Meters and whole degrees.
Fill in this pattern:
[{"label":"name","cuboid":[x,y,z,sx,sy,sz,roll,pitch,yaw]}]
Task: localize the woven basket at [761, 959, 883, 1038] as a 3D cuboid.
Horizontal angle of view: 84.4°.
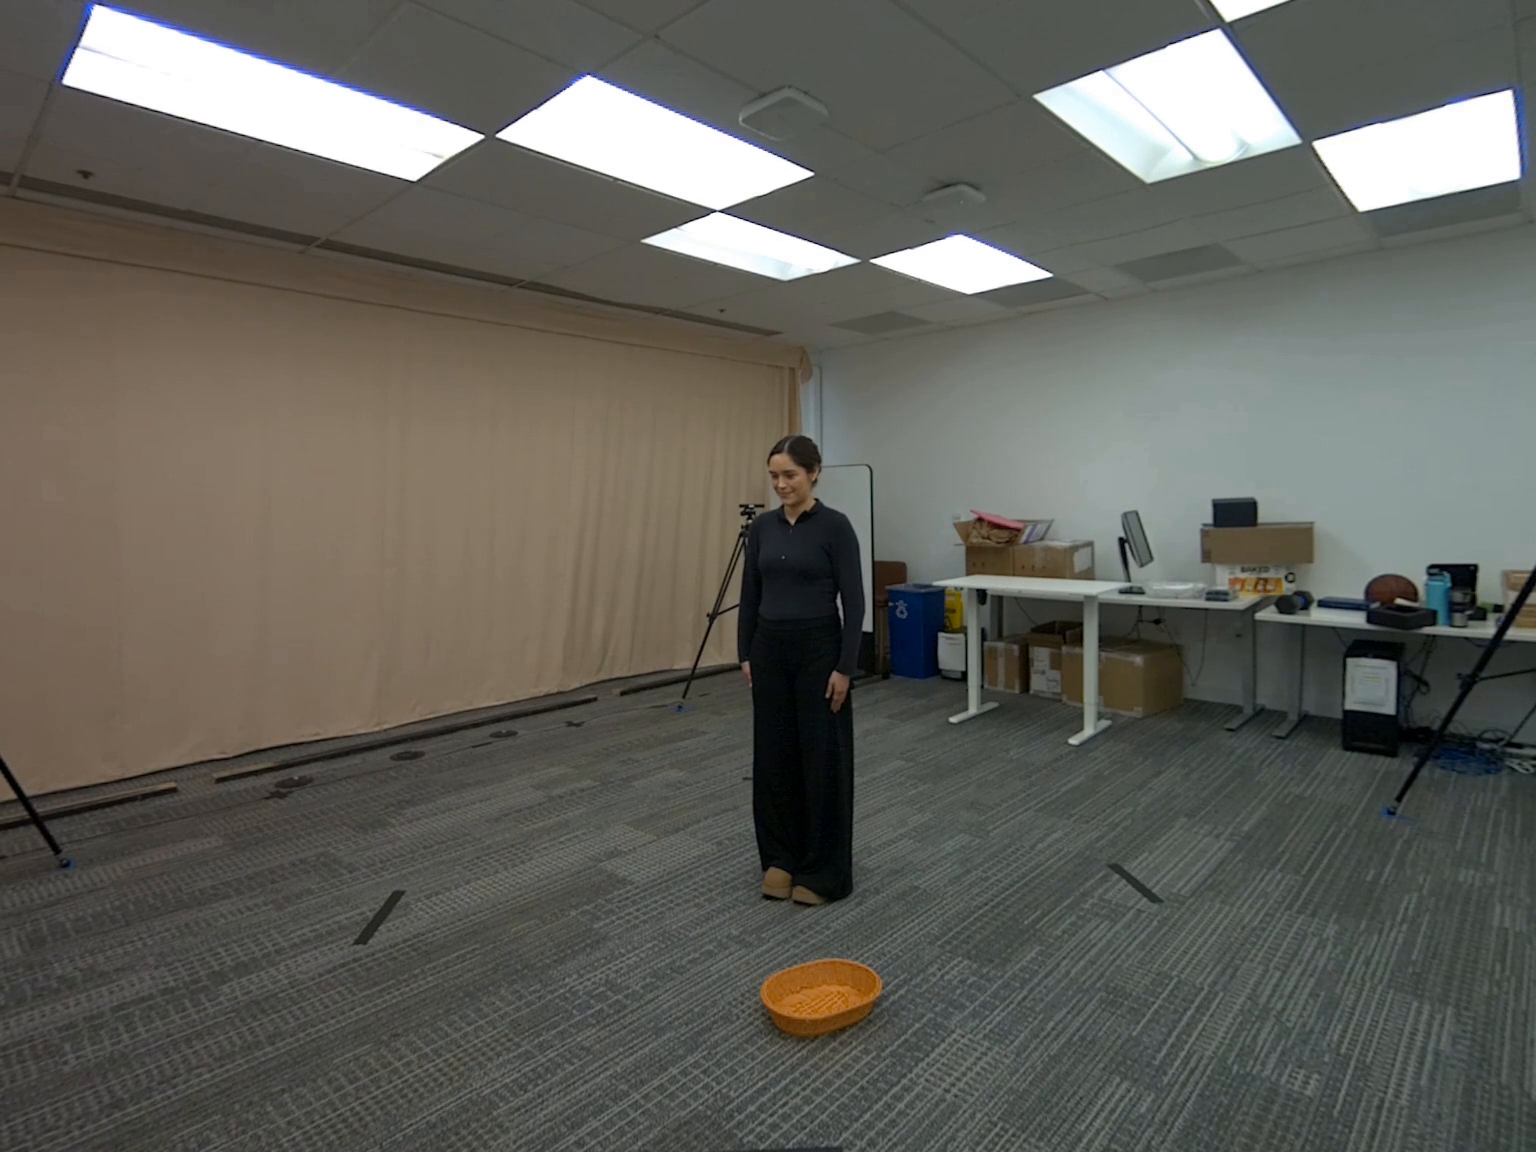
[{"label":"woven basket","cuboid":[0.144,1.150,2.310,0.342,0.073,0.259,-3,4,-27]}]
